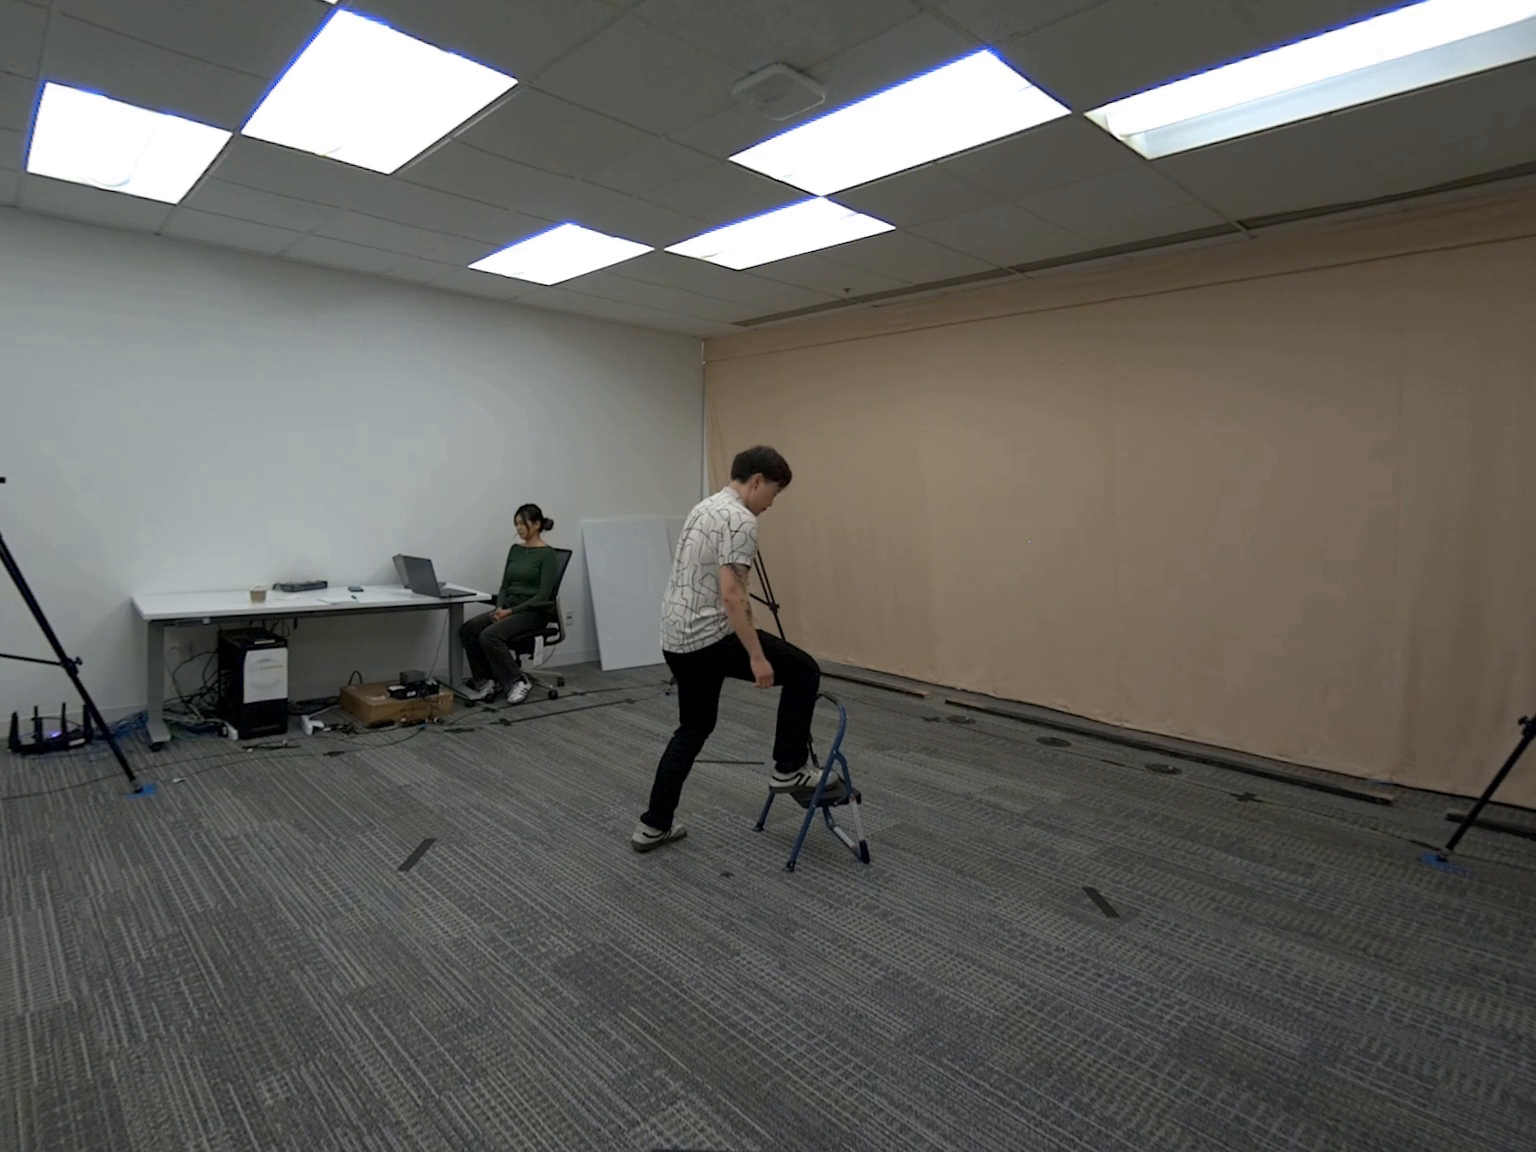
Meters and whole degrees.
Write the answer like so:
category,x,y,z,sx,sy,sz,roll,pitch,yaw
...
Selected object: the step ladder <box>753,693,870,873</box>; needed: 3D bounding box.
category,x,y,z,sx,sy,sz,roll,pitch,yaw
step ladder,0.169,0.784,3.364,0.345,0.605,0.437,1,4,-17
